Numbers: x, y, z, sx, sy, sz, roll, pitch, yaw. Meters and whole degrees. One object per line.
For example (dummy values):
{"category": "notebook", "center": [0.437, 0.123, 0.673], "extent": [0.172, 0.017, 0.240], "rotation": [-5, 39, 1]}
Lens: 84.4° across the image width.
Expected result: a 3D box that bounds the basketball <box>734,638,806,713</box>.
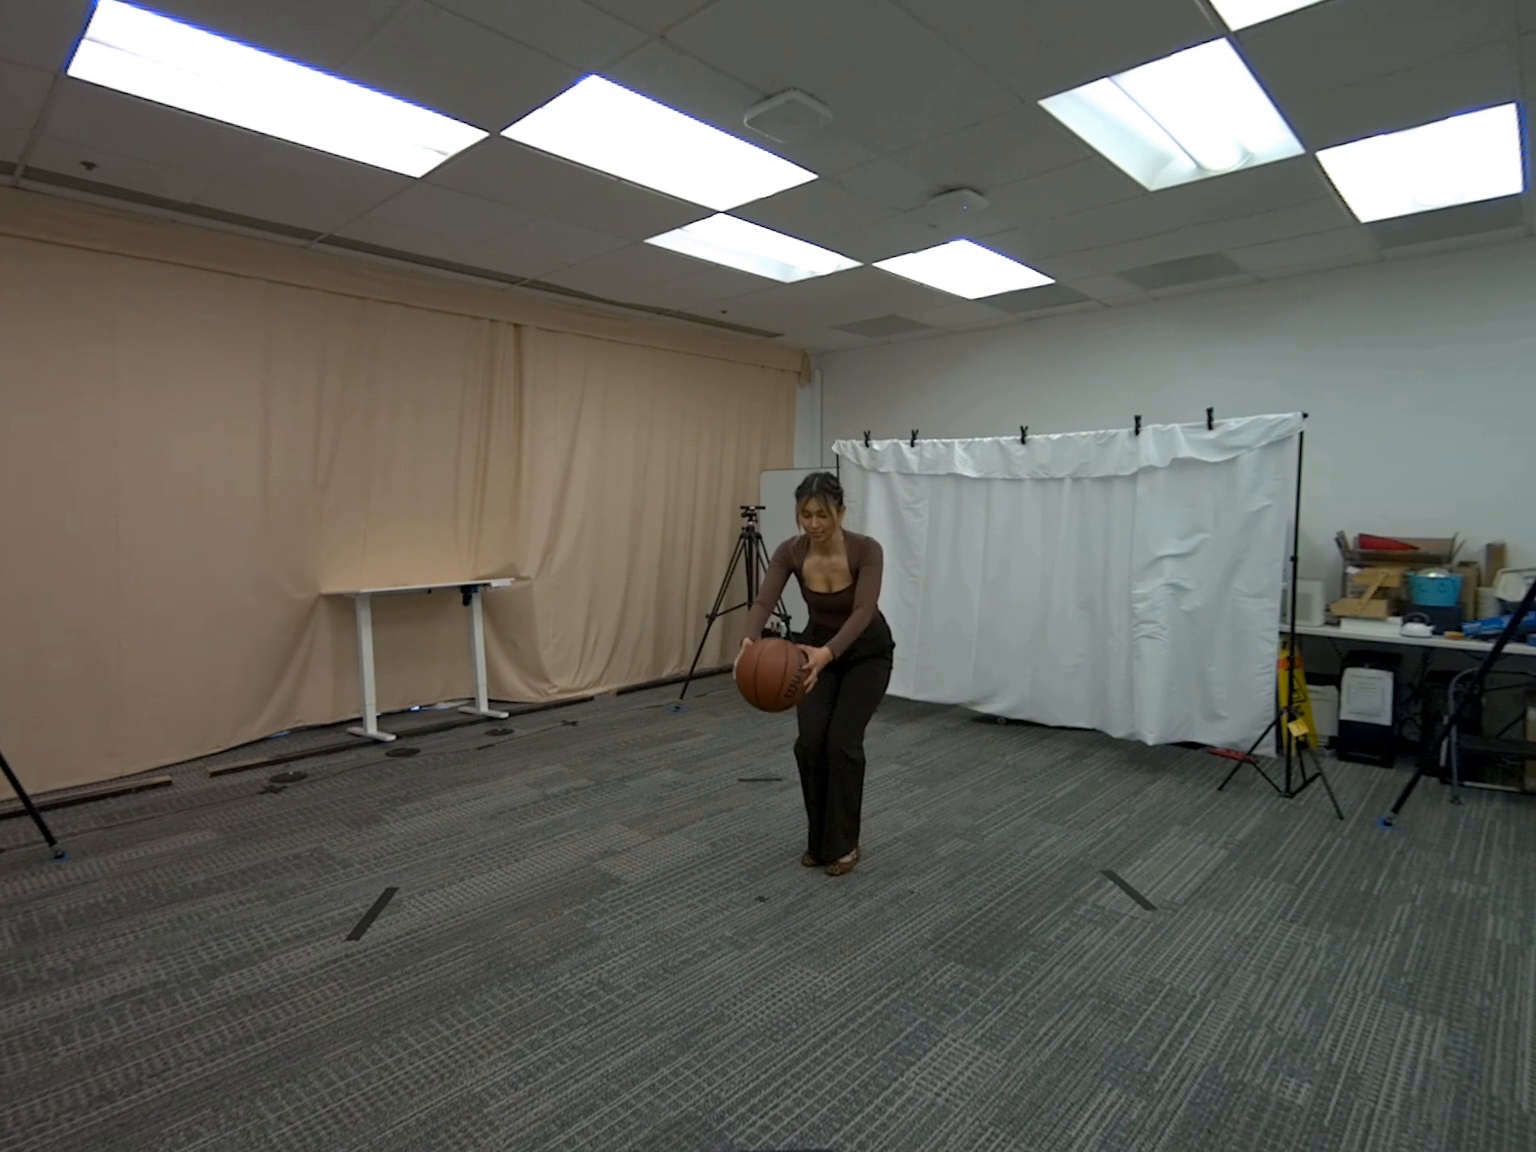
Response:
{"category": "basketball", "center": [0.019, 0.314, 2.716], "extent": [0.236, 0.235, 0.237], "rotation": [0, 4, -2]}
